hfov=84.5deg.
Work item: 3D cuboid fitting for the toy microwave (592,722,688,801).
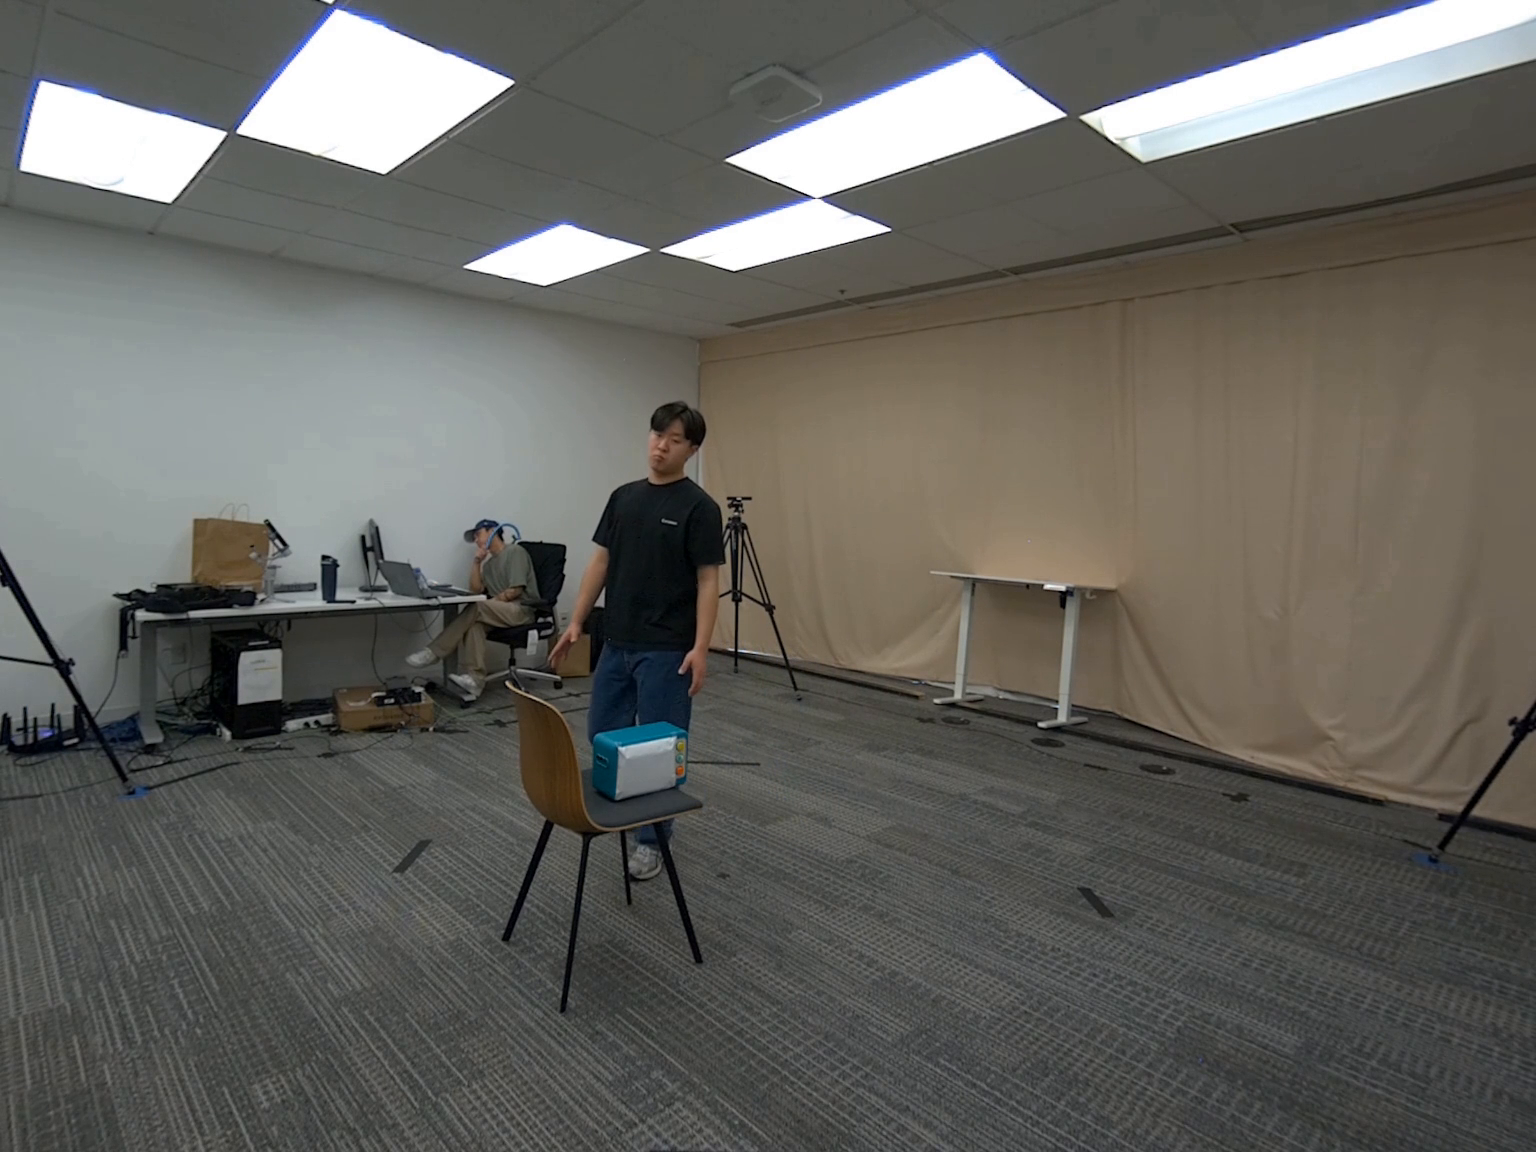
[{"bbox_3d":[-0.402,0.577,2.619,0.280,0.183,0.156,-3,7,-39],"label":"toy microwave"}]
